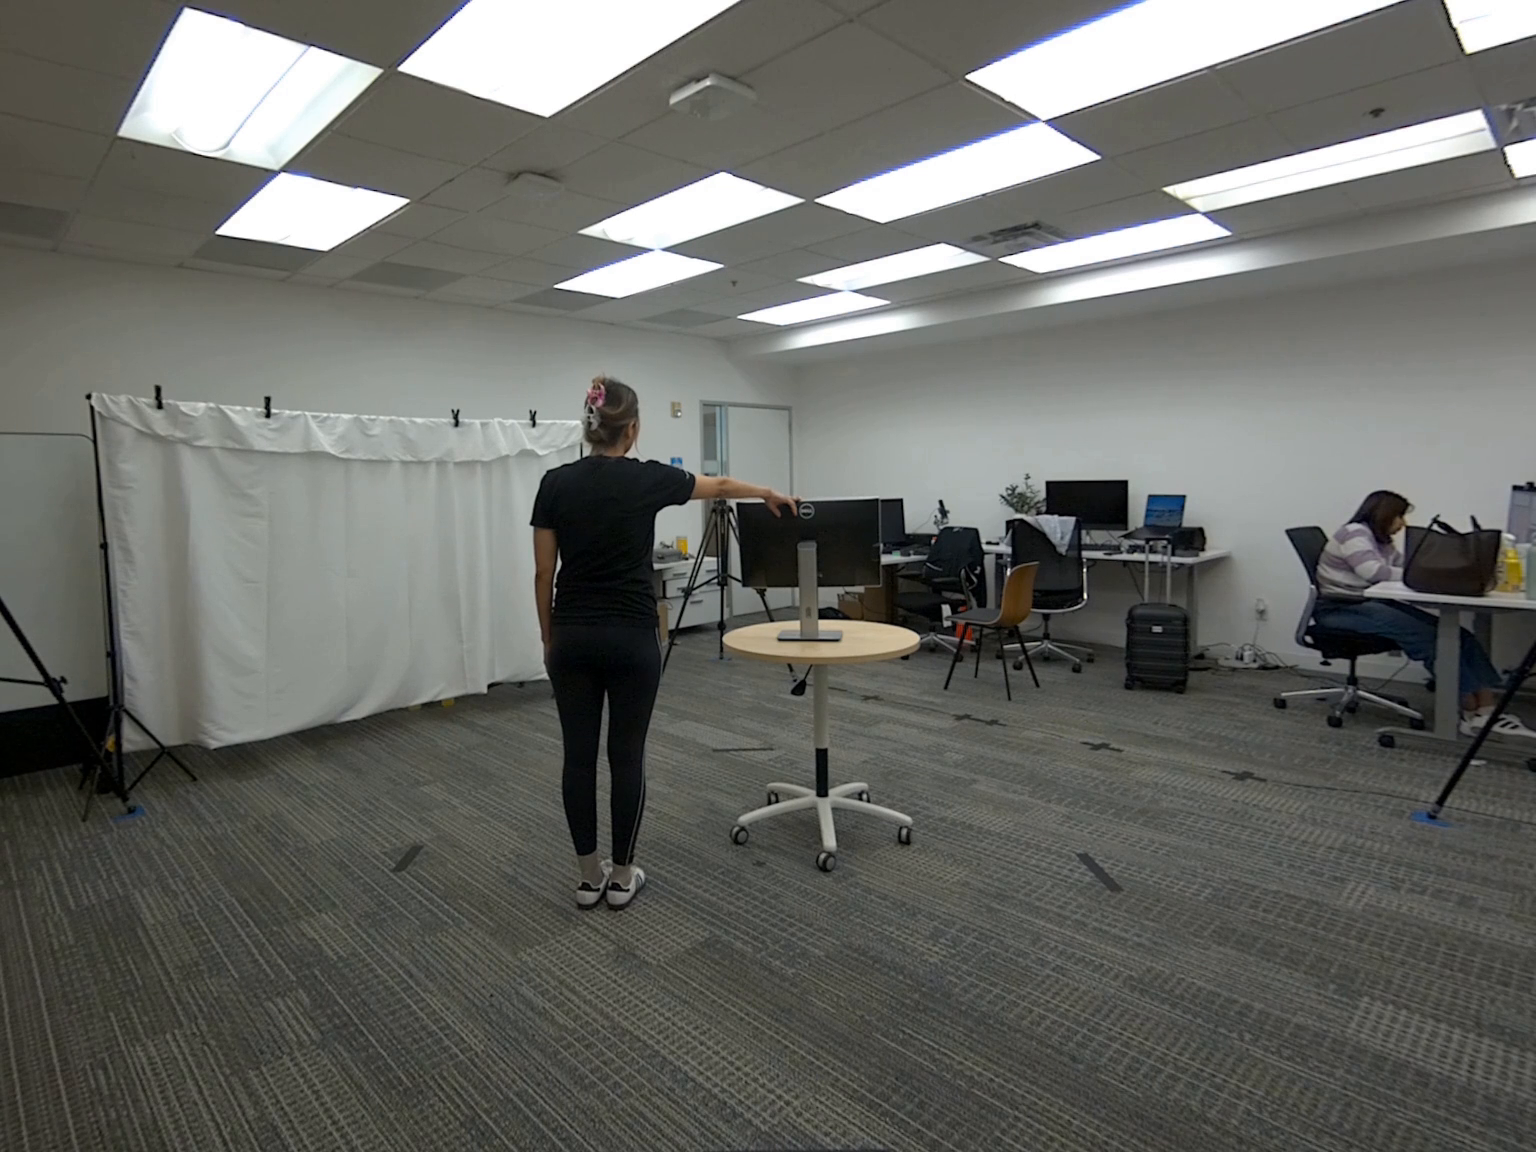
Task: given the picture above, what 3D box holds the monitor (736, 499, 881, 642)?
[{"bbox_3d":[0.156,-0.024,3.327,0.543,0.521,0.186,-1,4,8],"label":"monitor"}]
